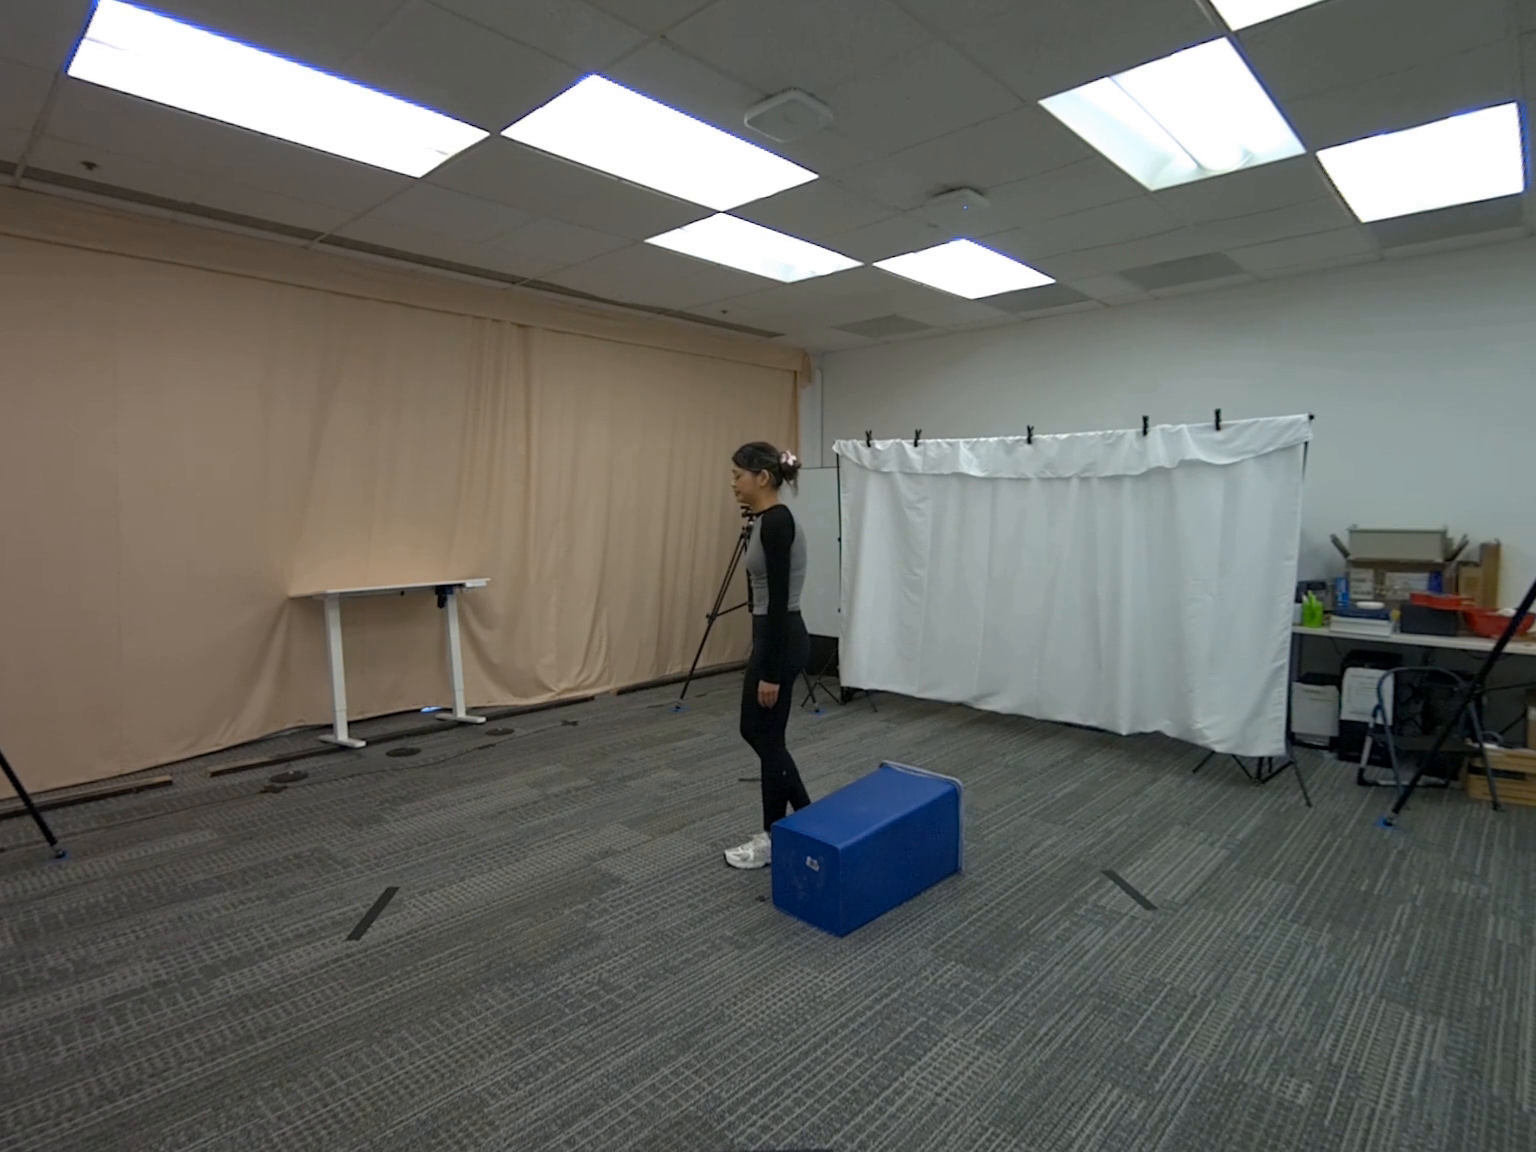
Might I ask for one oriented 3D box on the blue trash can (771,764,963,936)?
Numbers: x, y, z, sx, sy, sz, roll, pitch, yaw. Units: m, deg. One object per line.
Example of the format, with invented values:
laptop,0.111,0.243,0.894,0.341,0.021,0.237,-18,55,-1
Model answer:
blue trash can,0.372,0.966,3.037,0.391,0.373,0.692,4,8,43
